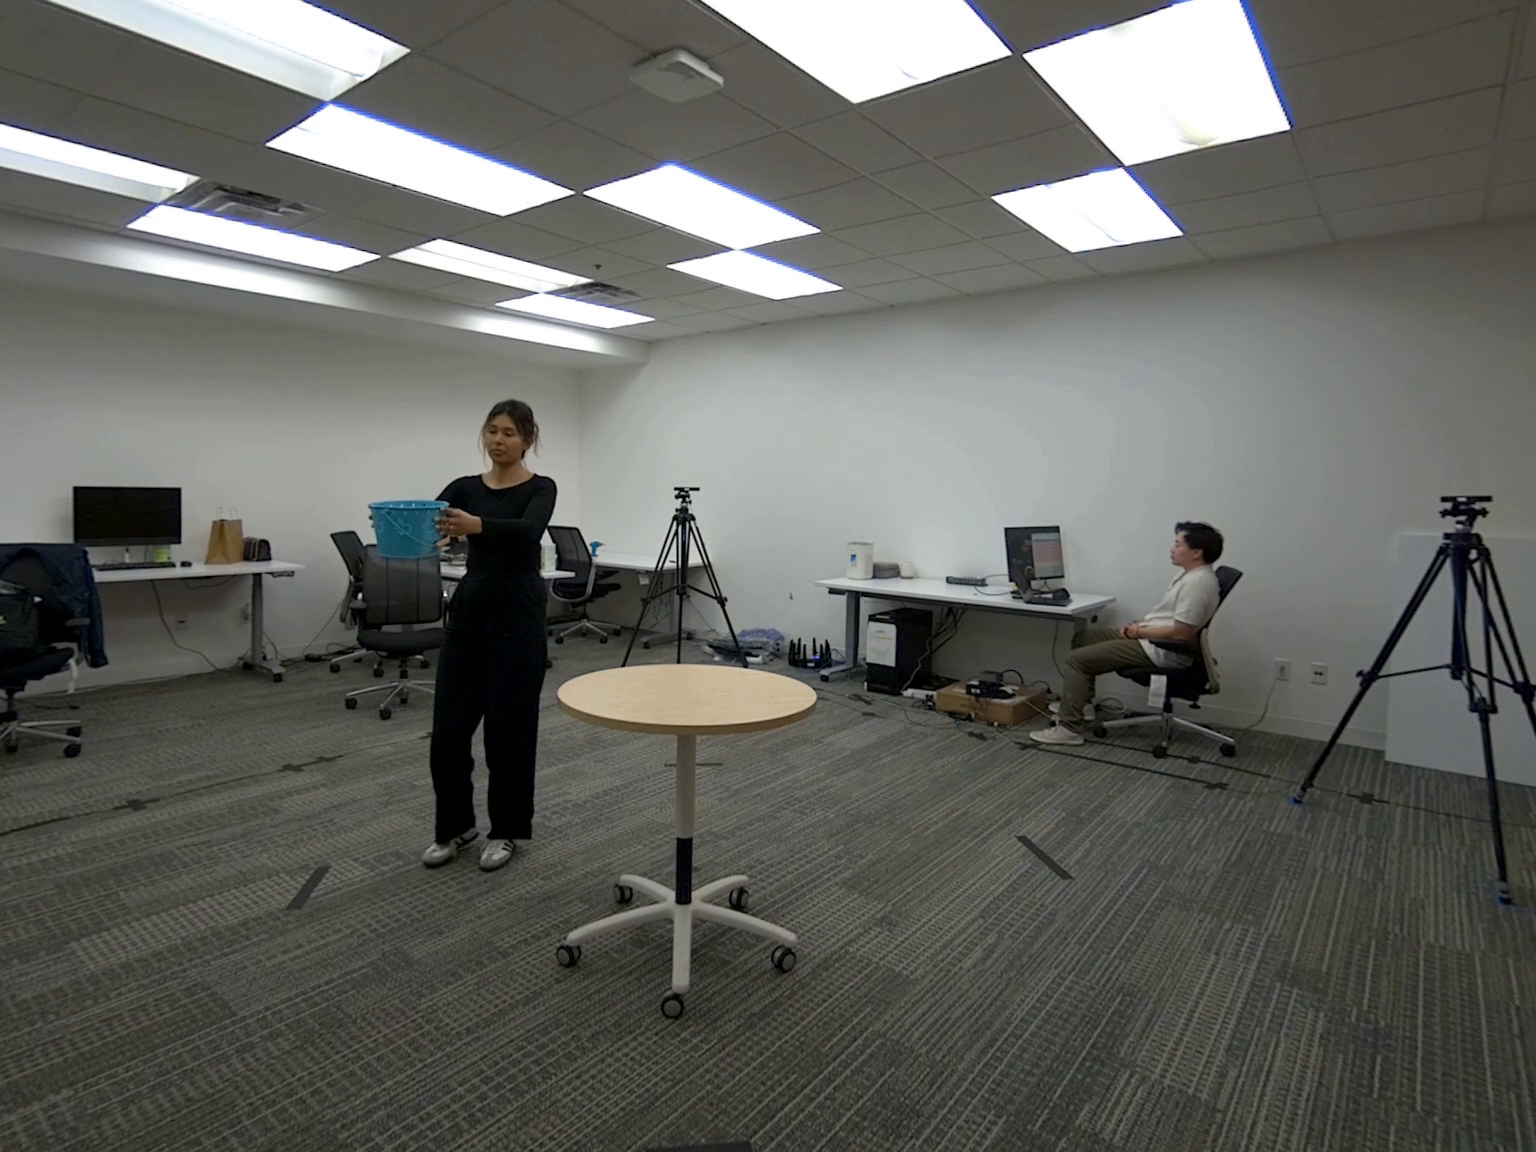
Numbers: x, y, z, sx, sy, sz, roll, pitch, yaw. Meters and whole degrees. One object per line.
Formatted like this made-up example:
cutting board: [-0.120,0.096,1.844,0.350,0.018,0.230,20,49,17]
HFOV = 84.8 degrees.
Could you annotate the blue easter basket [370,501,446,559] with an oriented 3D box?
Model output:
blue easter basket: [-1.103,-0.146,2.589,0.243,0.155,0.245,1,8,-2]
